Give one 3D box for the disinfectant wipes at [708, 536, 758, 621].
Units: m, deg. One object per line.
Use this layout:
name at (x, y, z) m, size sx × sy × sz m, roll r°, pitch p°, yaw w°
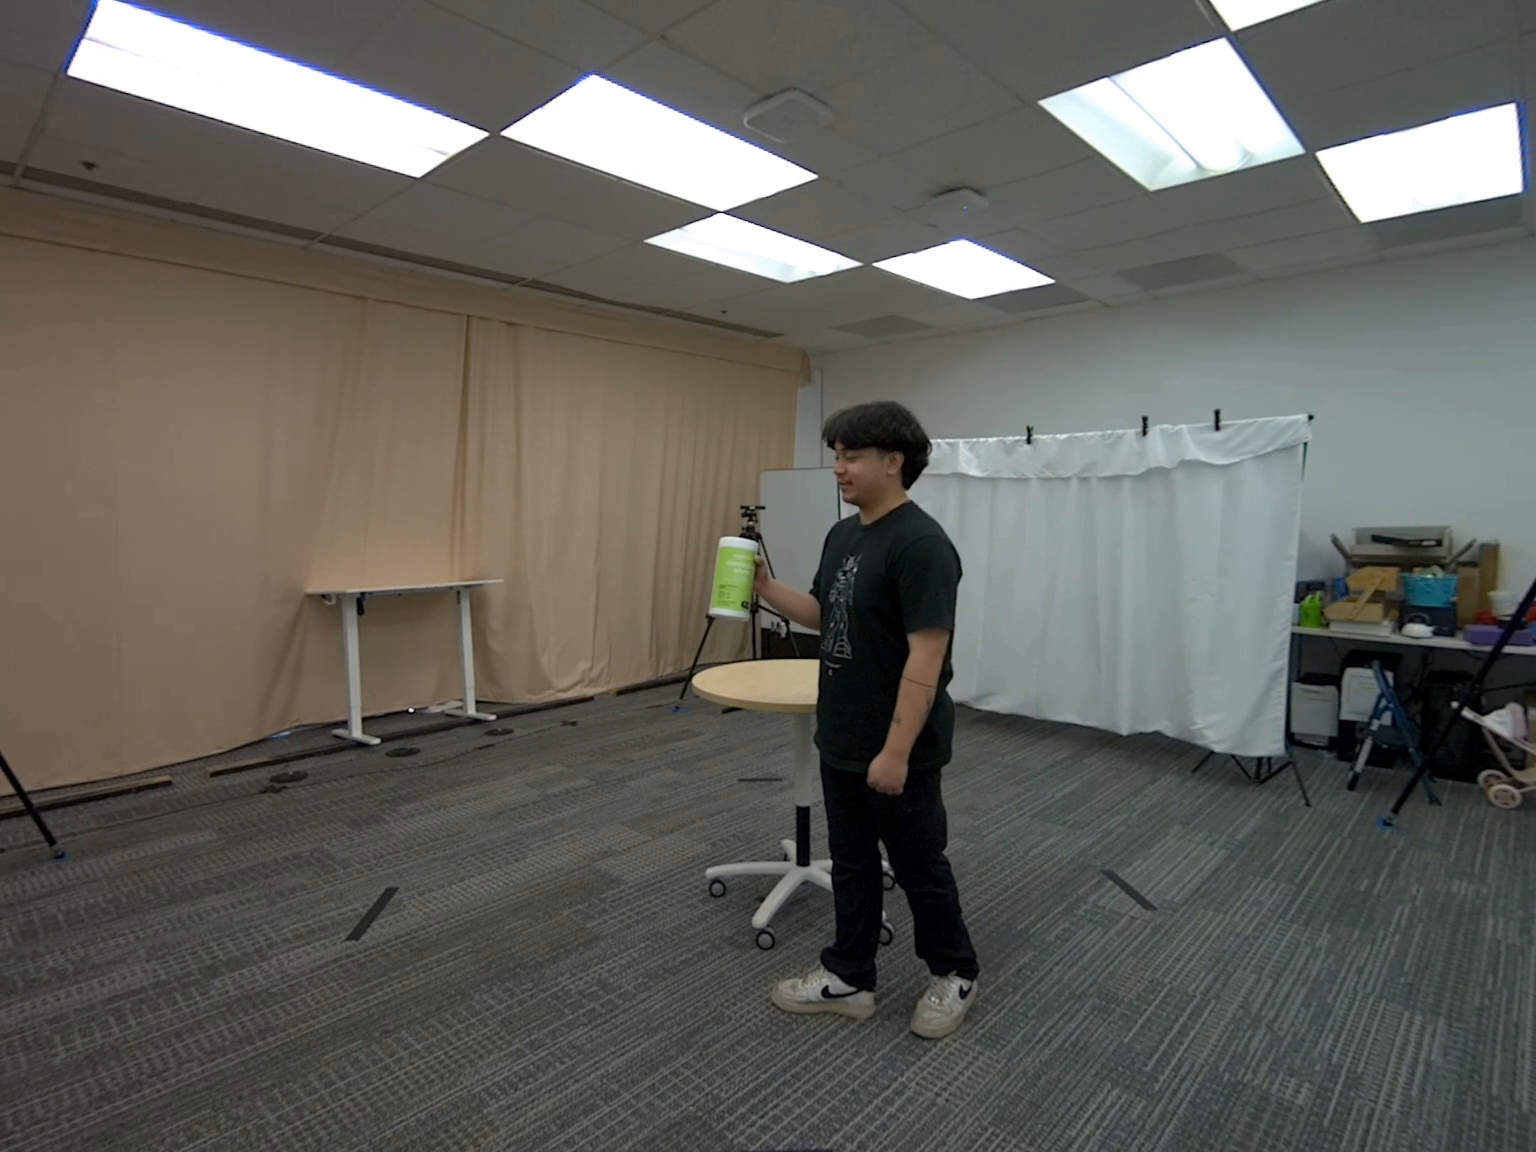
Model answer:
disinfectant wipes at (-0.087, 0.011, 2.295) m, size 0.118 × 0.218 × 0.117 m, roll 6°, pitch -8°, yaw -1°
